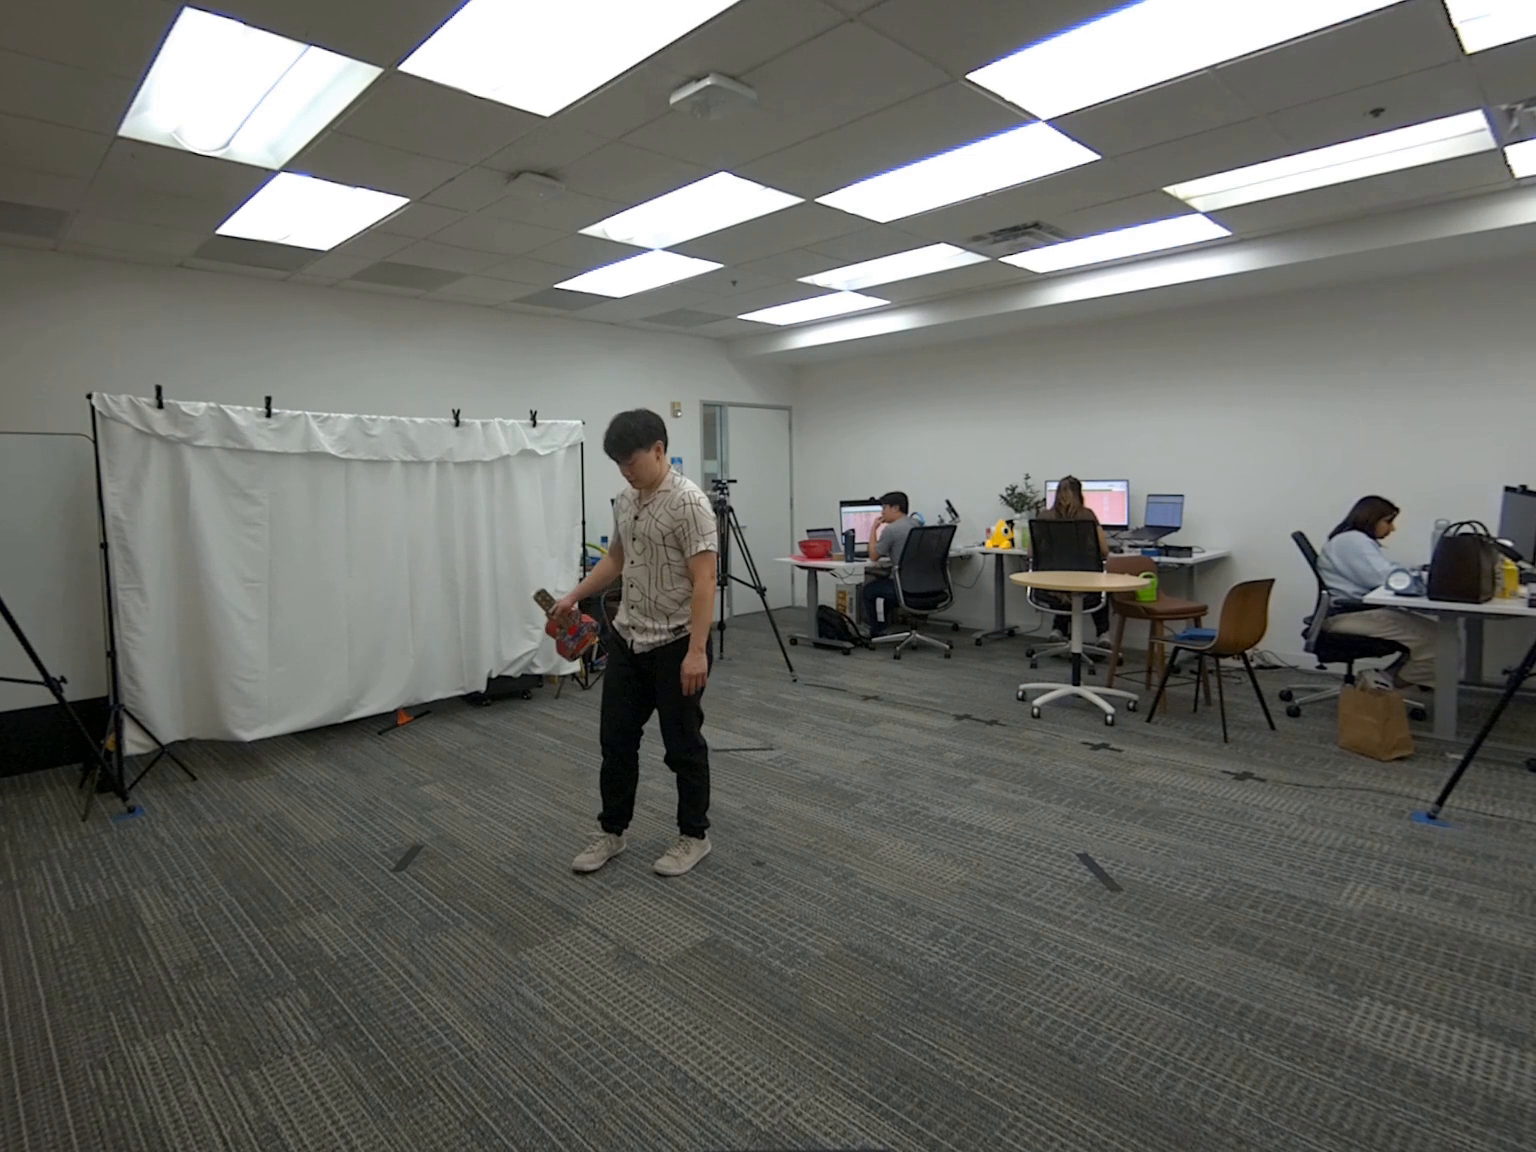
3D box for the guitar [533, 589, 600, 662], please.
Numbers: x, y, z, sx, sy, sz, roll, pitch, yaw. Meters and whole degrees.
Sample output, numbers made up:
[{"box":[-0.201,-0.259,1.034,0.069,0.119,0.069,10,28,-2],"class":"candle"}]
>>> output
[{"box":[-0.783,0.155,3.315,0.073,0.482,0.193,29,62,27],"class":"guitar"}]
